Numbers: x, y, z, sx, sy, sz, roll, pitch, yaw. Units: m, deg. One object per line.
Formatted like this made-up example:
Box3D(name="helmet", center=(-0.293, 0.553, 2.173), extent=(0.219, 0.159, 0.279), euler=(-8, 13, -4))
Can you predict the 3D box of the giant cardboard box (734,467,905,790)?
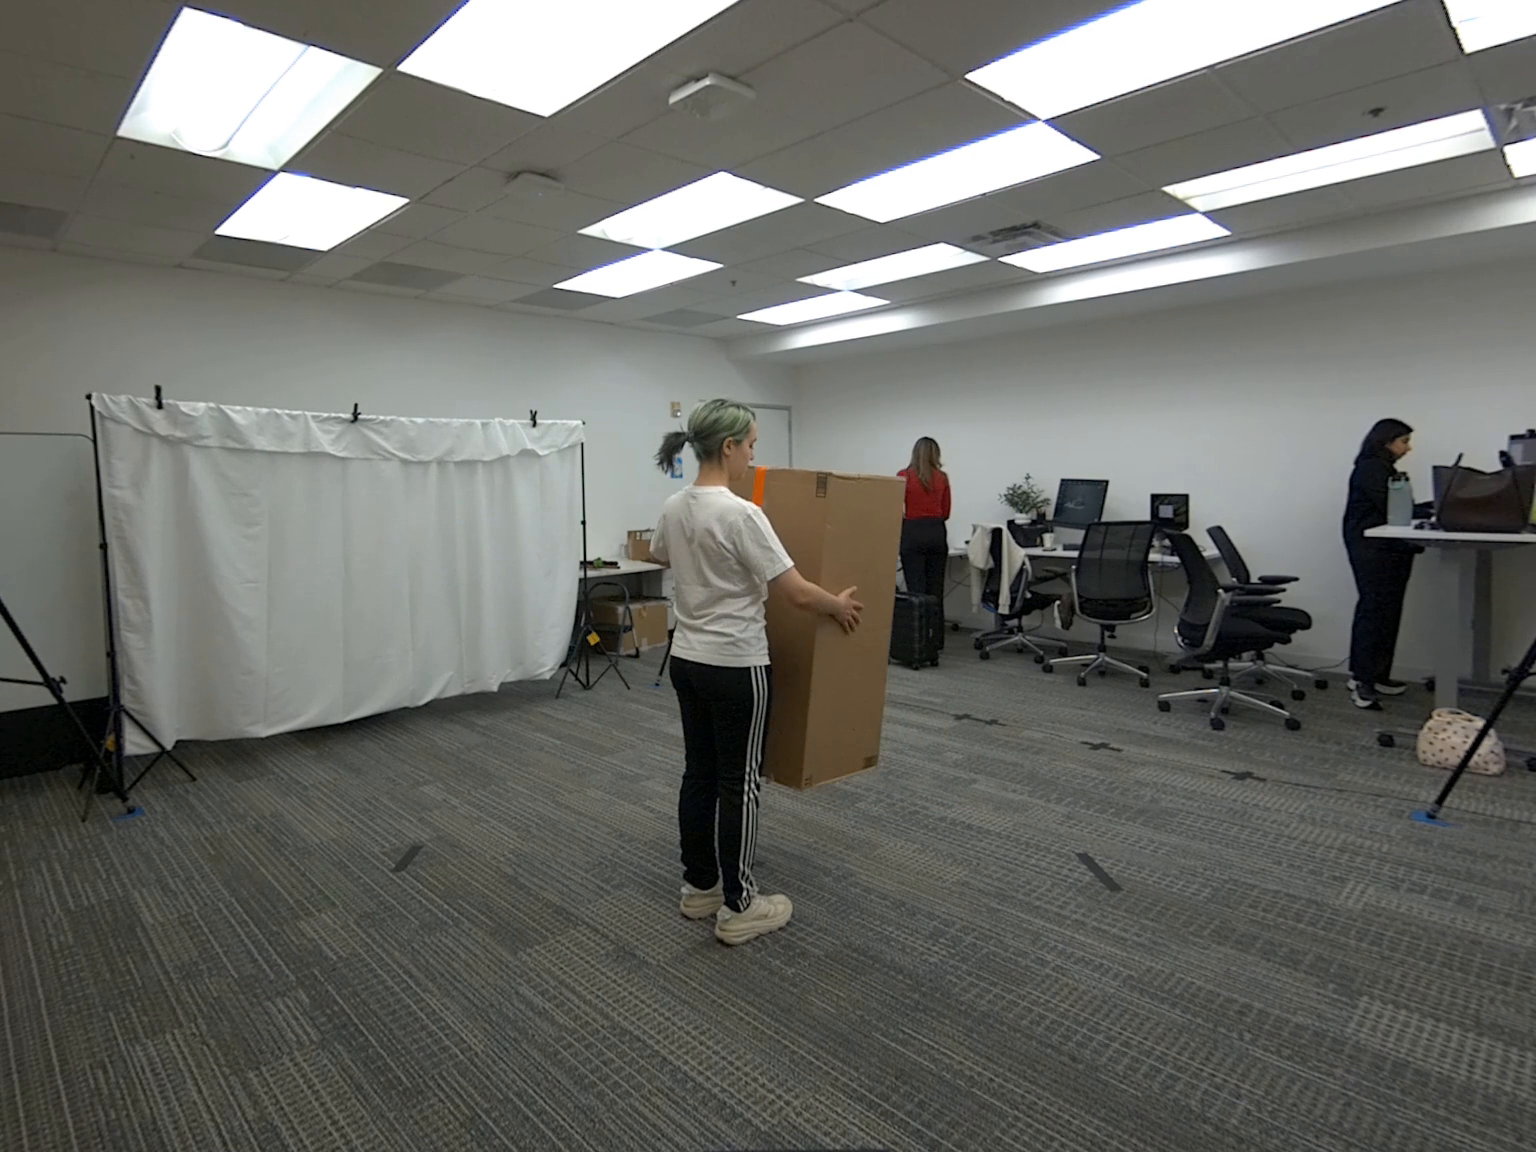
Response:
Box3D(name="giant cardboard box", center=(0.081, 0.139, 3.014), extent=(0.597, 1.022, 0.414), euler=(9, 6, 44))
